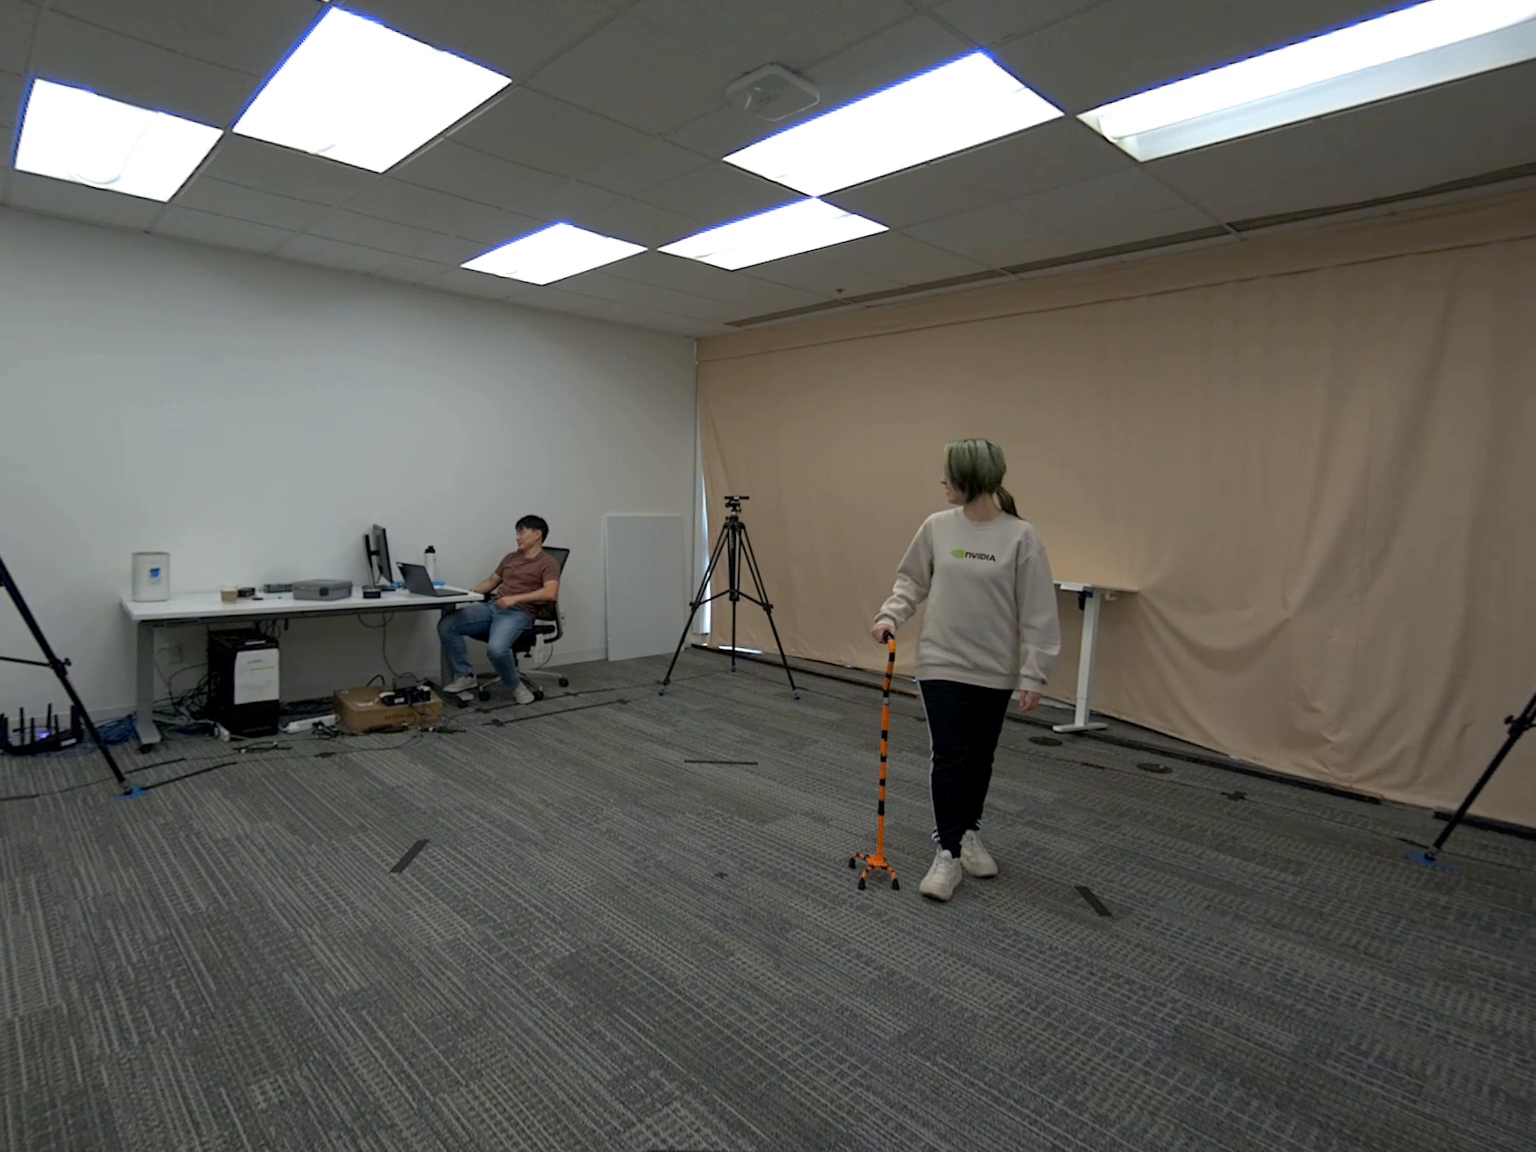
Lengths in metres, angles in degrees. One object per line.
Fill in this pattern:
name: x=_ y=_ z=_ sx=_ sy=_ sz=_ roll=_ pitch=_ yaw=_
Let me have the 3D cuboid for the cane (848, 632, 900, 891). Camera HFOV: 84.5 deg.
cane: x=0.397 y=0.656 z=3.084 sx=0.150 sy=0.905 sz=0.208 roll=2 pitch=4 yaw=-9
